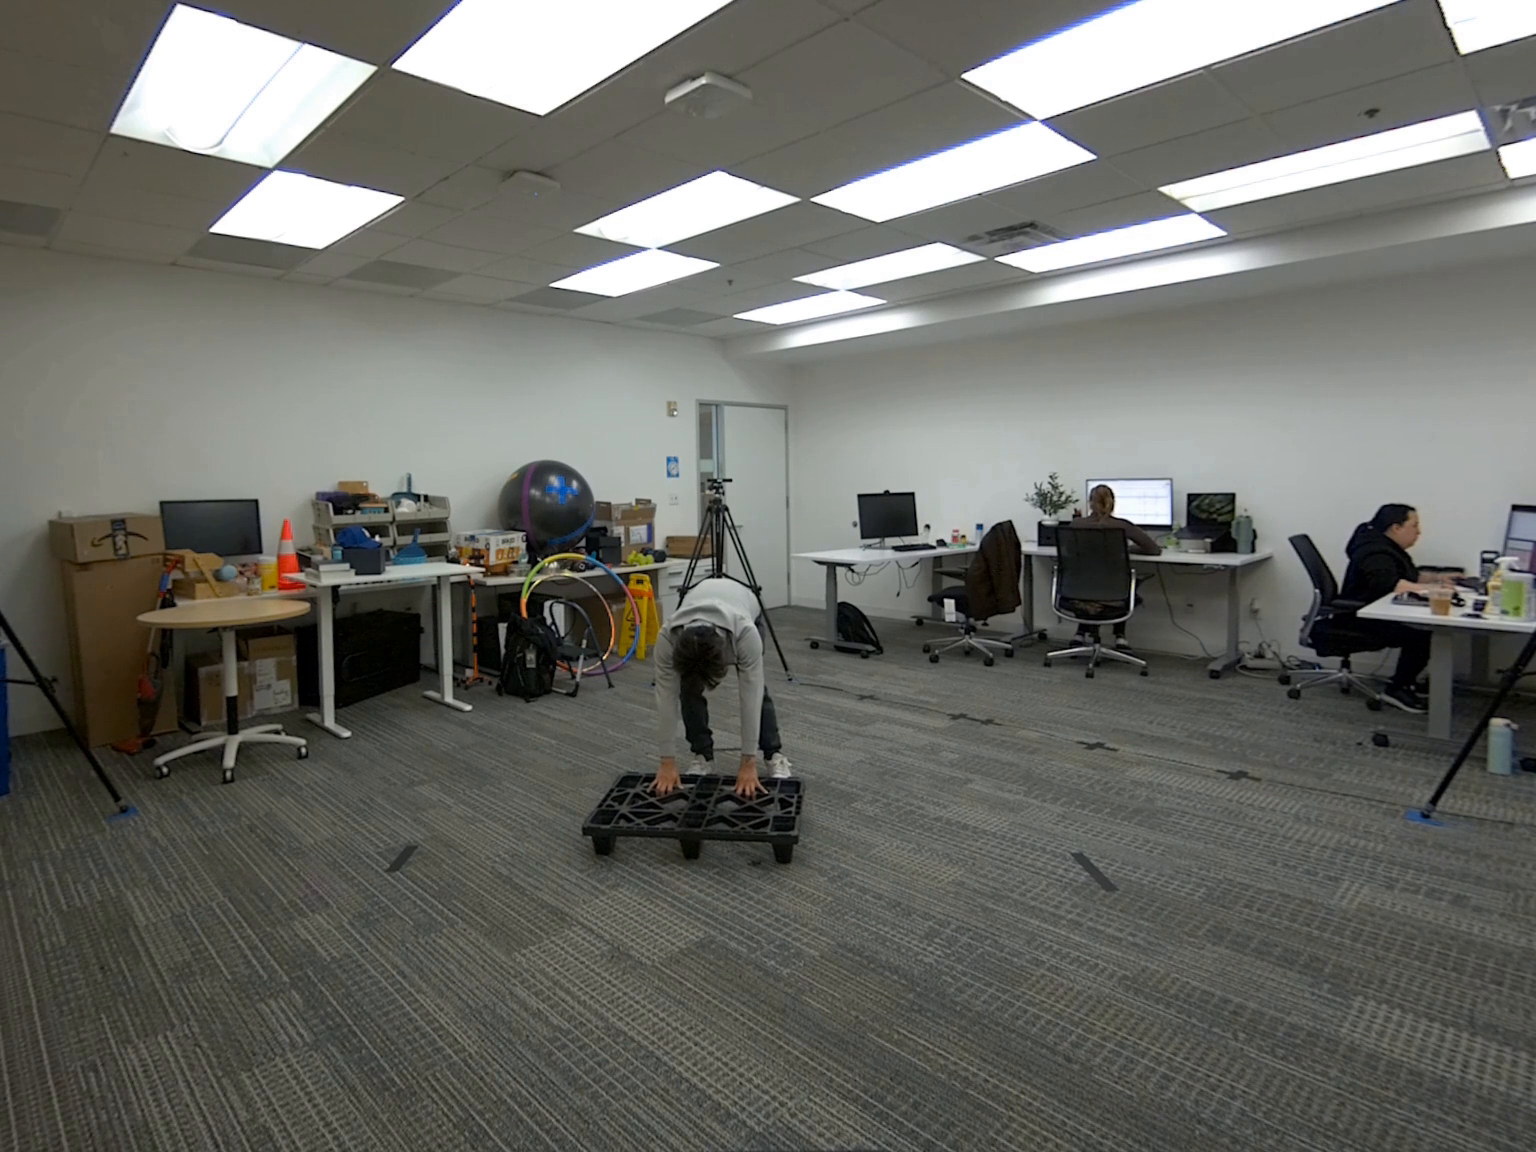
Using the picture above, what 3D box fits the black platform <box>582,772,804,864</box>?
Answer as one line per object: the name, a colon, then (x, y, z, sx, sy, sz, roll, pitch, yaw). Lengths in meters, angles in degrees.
black platform: (-0.262, 0.945, 3.379, 0.812, 0.143, 0.603, 0, 5, 7)
